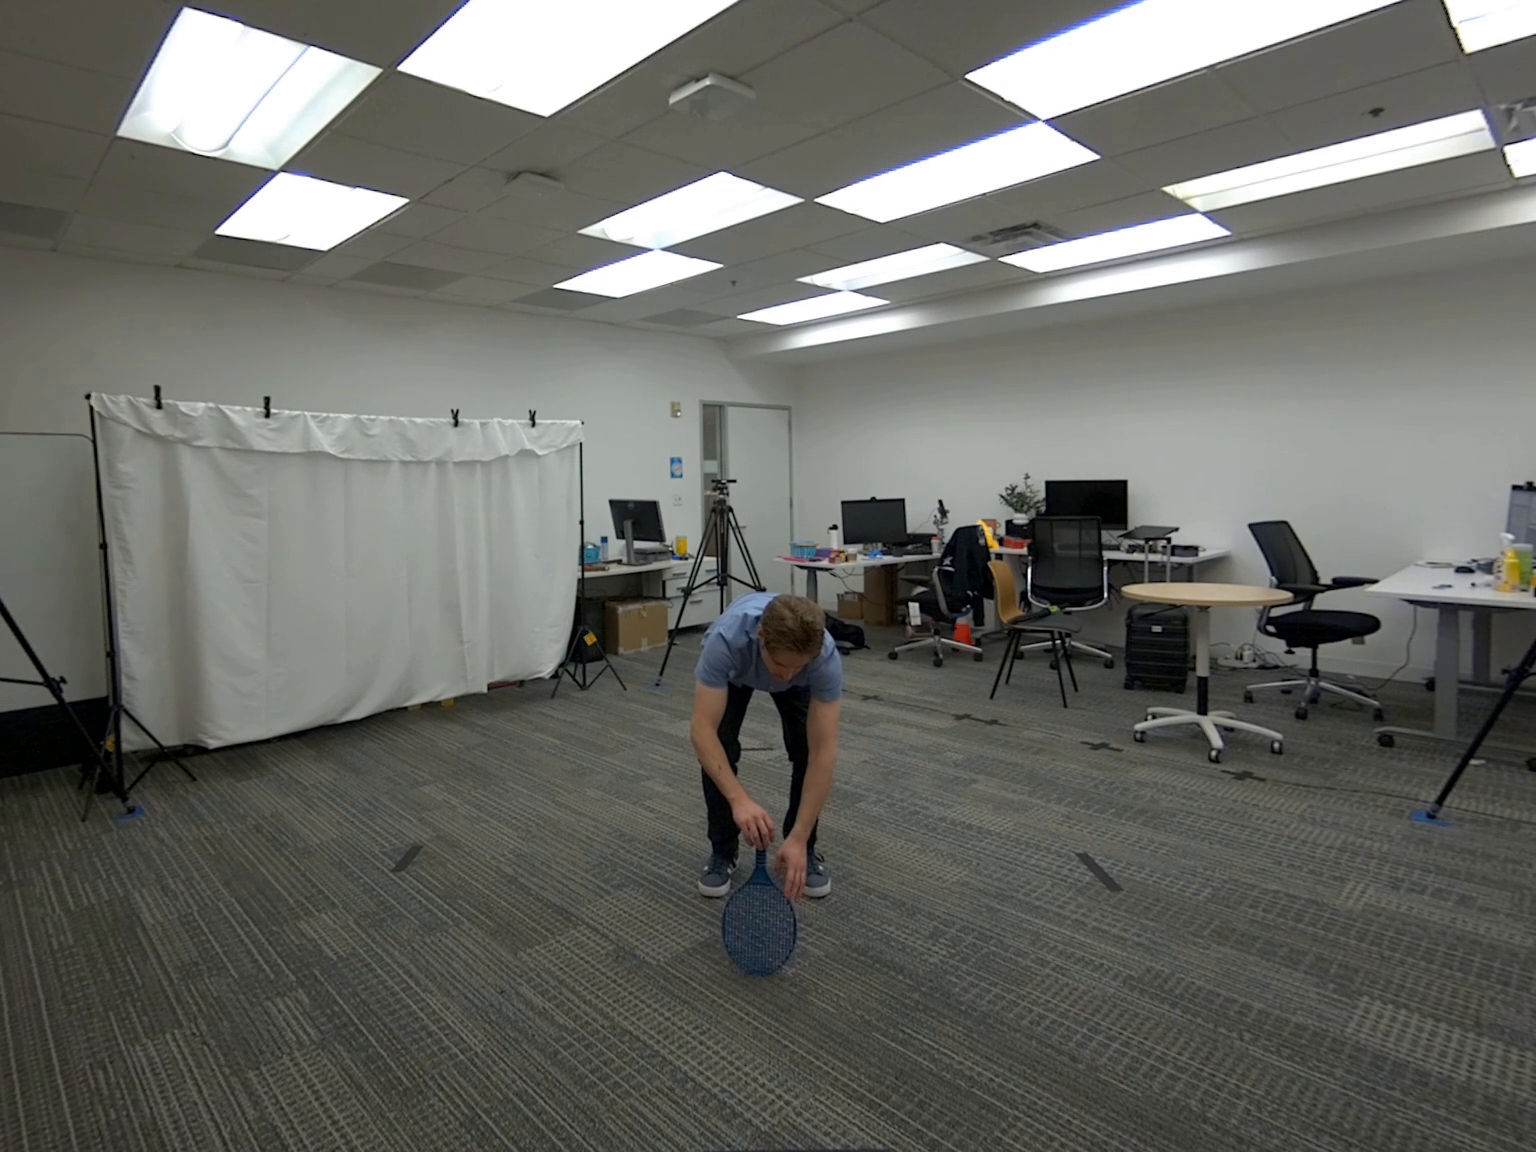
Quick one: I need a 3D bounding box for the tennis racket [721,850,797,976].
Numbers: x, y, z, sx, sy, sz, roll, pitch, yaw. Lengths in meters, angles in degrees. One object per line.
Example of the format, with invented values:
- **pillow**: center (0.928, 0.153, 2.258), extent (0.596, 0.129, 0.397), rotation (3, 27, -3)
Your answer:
- **tennis racket**: center (-0.025, 0.912, 2.417), extent (0.215, 0.432, 0.031), rotation (2, 1, 7)
